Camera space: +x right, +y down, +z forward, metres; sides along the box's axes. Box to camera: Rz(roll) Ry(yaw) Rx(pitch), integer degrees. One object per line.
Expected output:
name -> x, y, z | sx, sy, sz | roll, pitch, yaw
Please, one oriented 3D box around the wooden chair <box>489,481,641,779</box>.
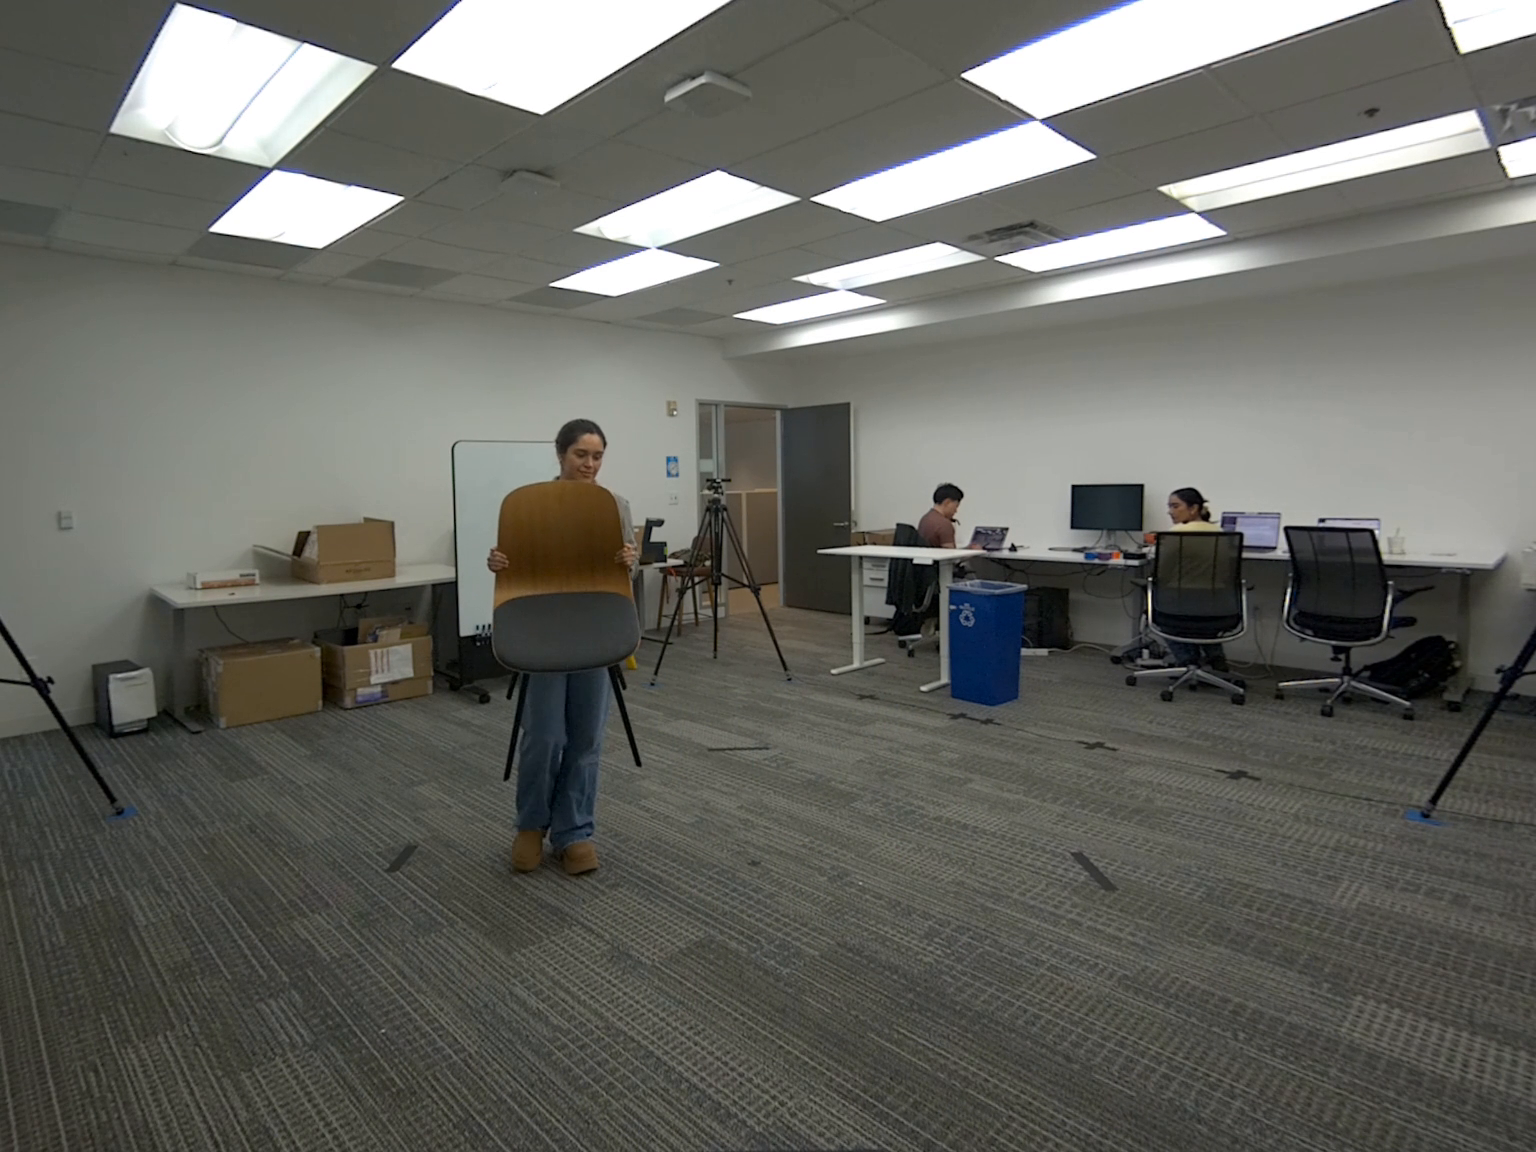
wooden chair -> -0.670, 0.187, 2.837 | 0.472, 0.862, 0.539 | -3, 22, -13
